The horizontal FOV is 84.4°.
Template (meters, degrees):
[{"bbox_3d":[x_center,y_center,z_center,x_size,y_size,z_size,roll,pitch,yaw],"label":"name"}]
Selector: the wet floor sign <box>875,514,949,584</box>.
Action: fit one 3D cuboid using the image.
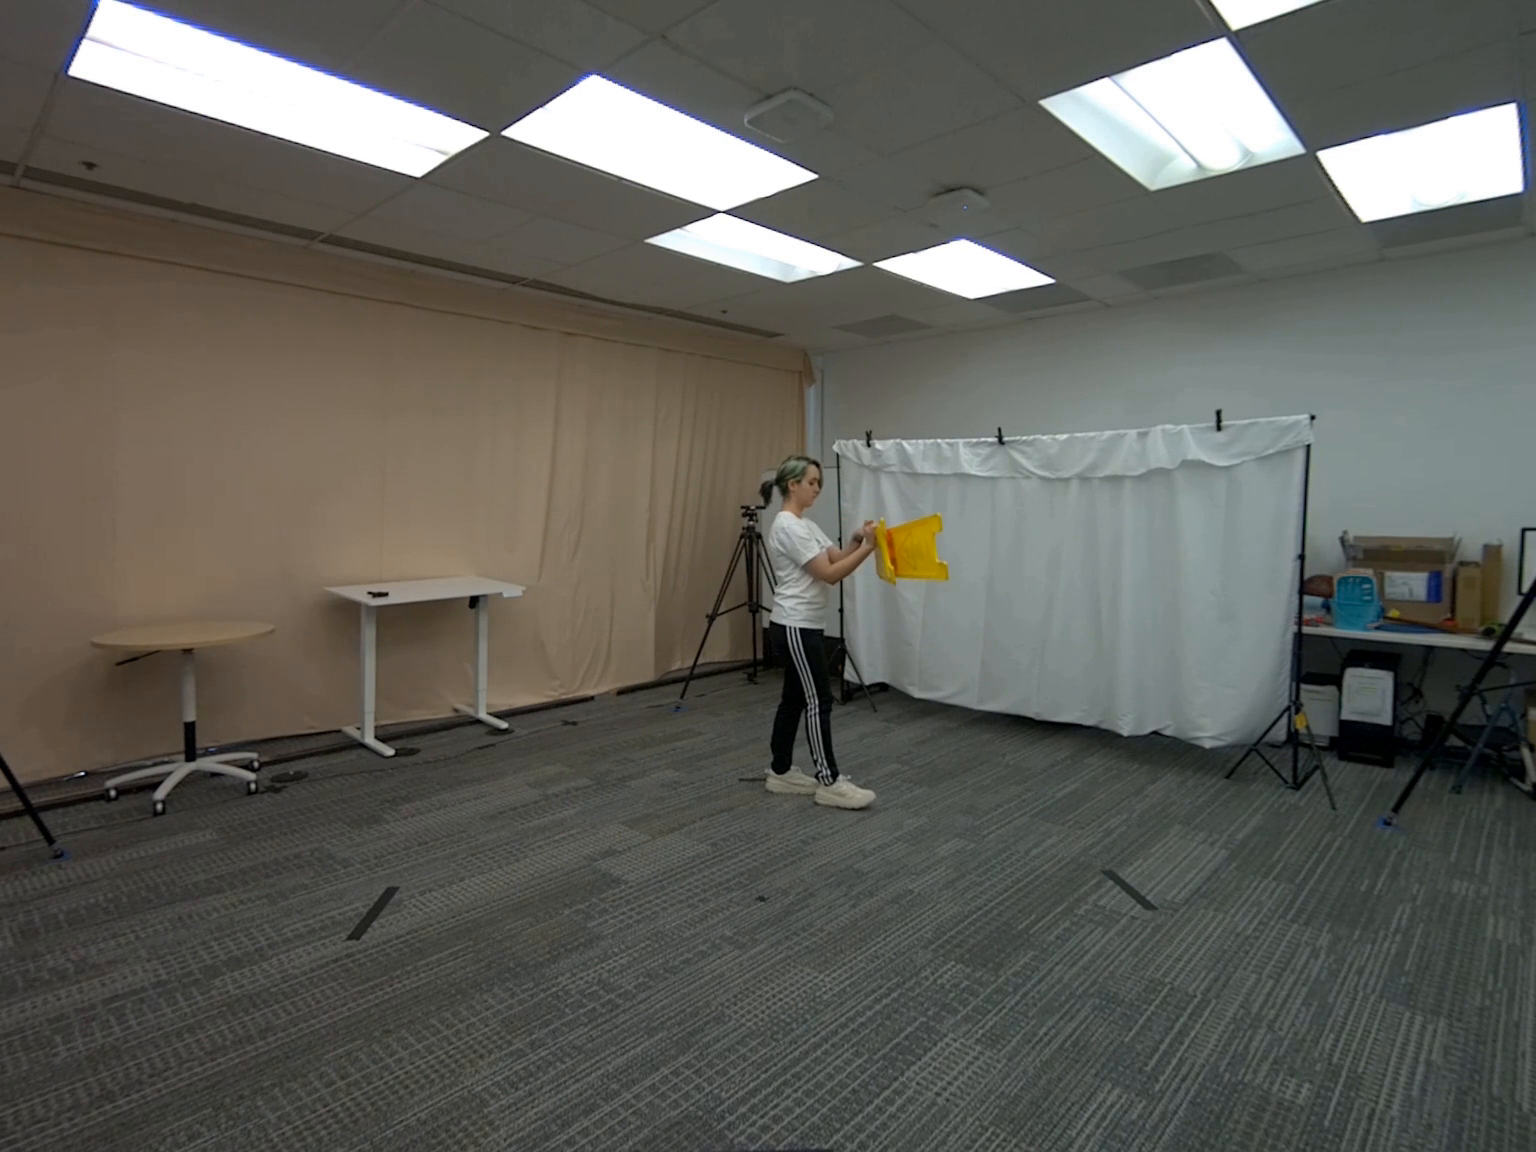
[{"bbox_3d":[0.566,-0.105,3.773,0.288,0.283,0.649,-4,-1,-8],"label":"wet floor sign"}]
